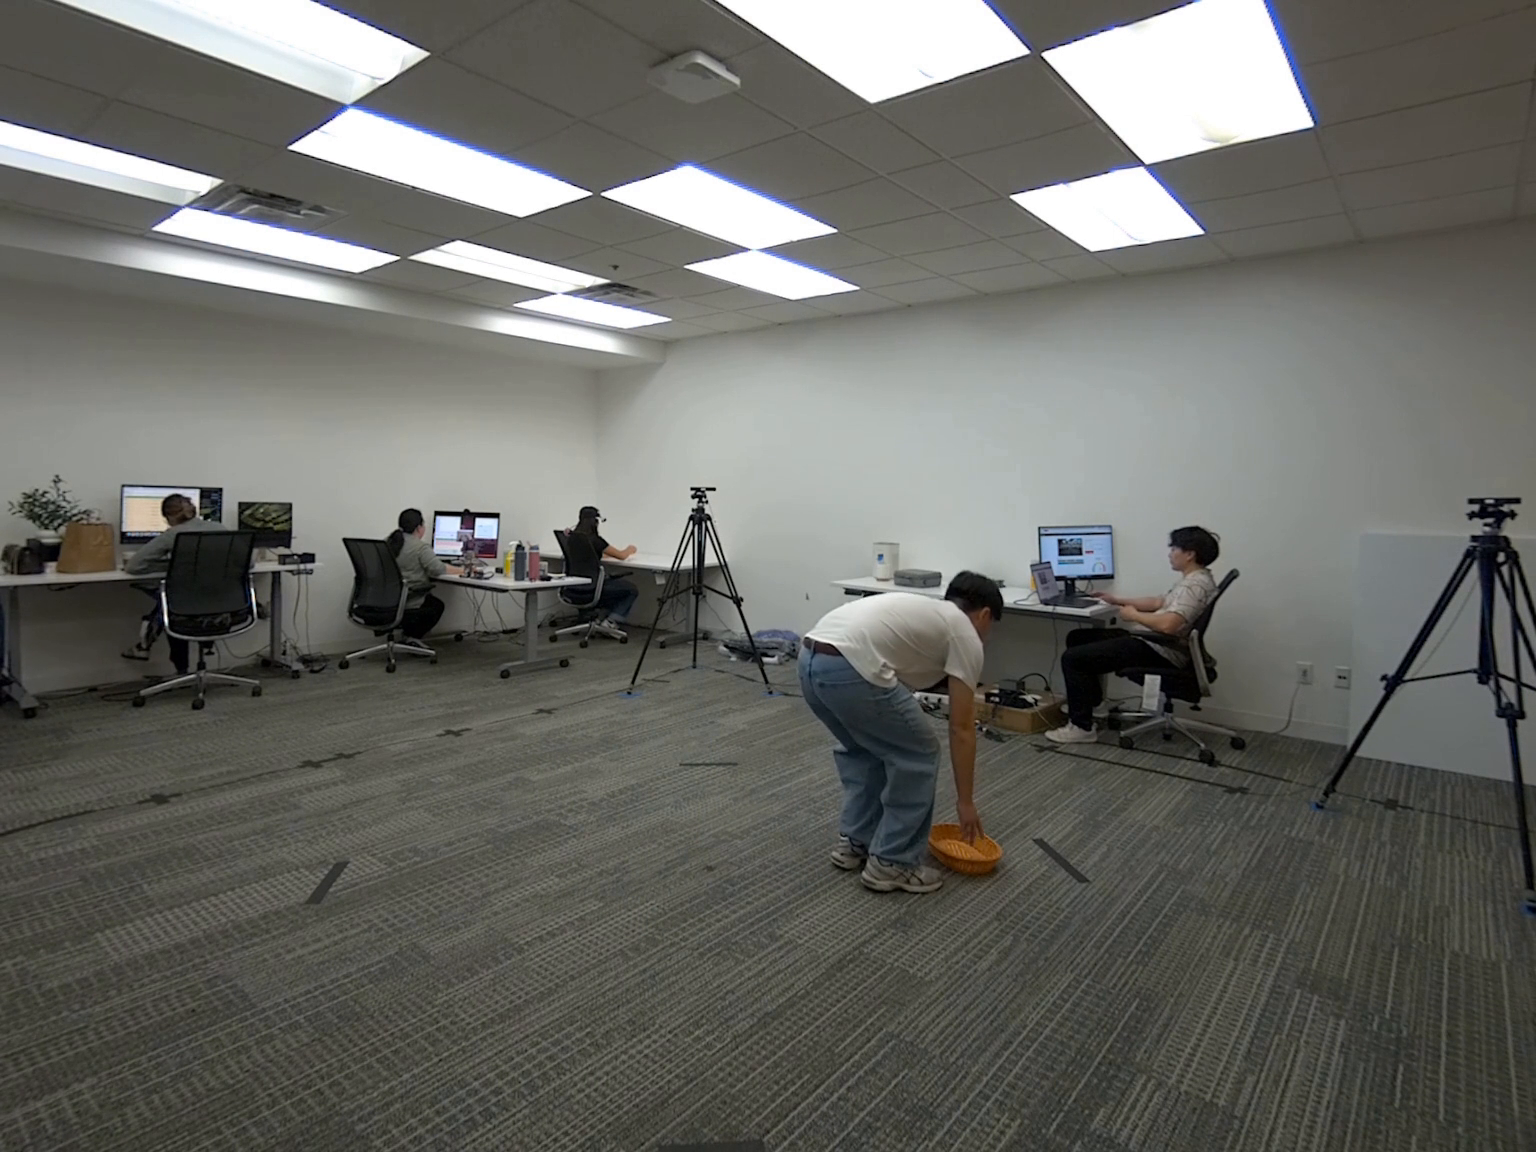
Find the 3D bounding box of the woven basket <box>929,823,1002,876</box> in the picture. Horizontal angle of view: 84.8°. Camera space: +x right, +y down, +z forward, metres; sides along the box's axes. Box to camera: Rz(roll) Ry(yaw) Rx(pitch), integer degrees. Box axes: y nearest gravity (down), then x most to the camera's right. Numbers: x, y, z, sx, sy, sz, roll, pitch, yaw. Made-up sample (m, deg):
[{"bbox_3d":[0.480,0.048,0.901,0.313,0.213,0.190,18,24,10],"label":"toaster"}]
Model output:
[{"bbox_3d":[0.731,1.037,3.248,0.248,0.073,0.358,0,7,-17],"label":"woven basket"}]
